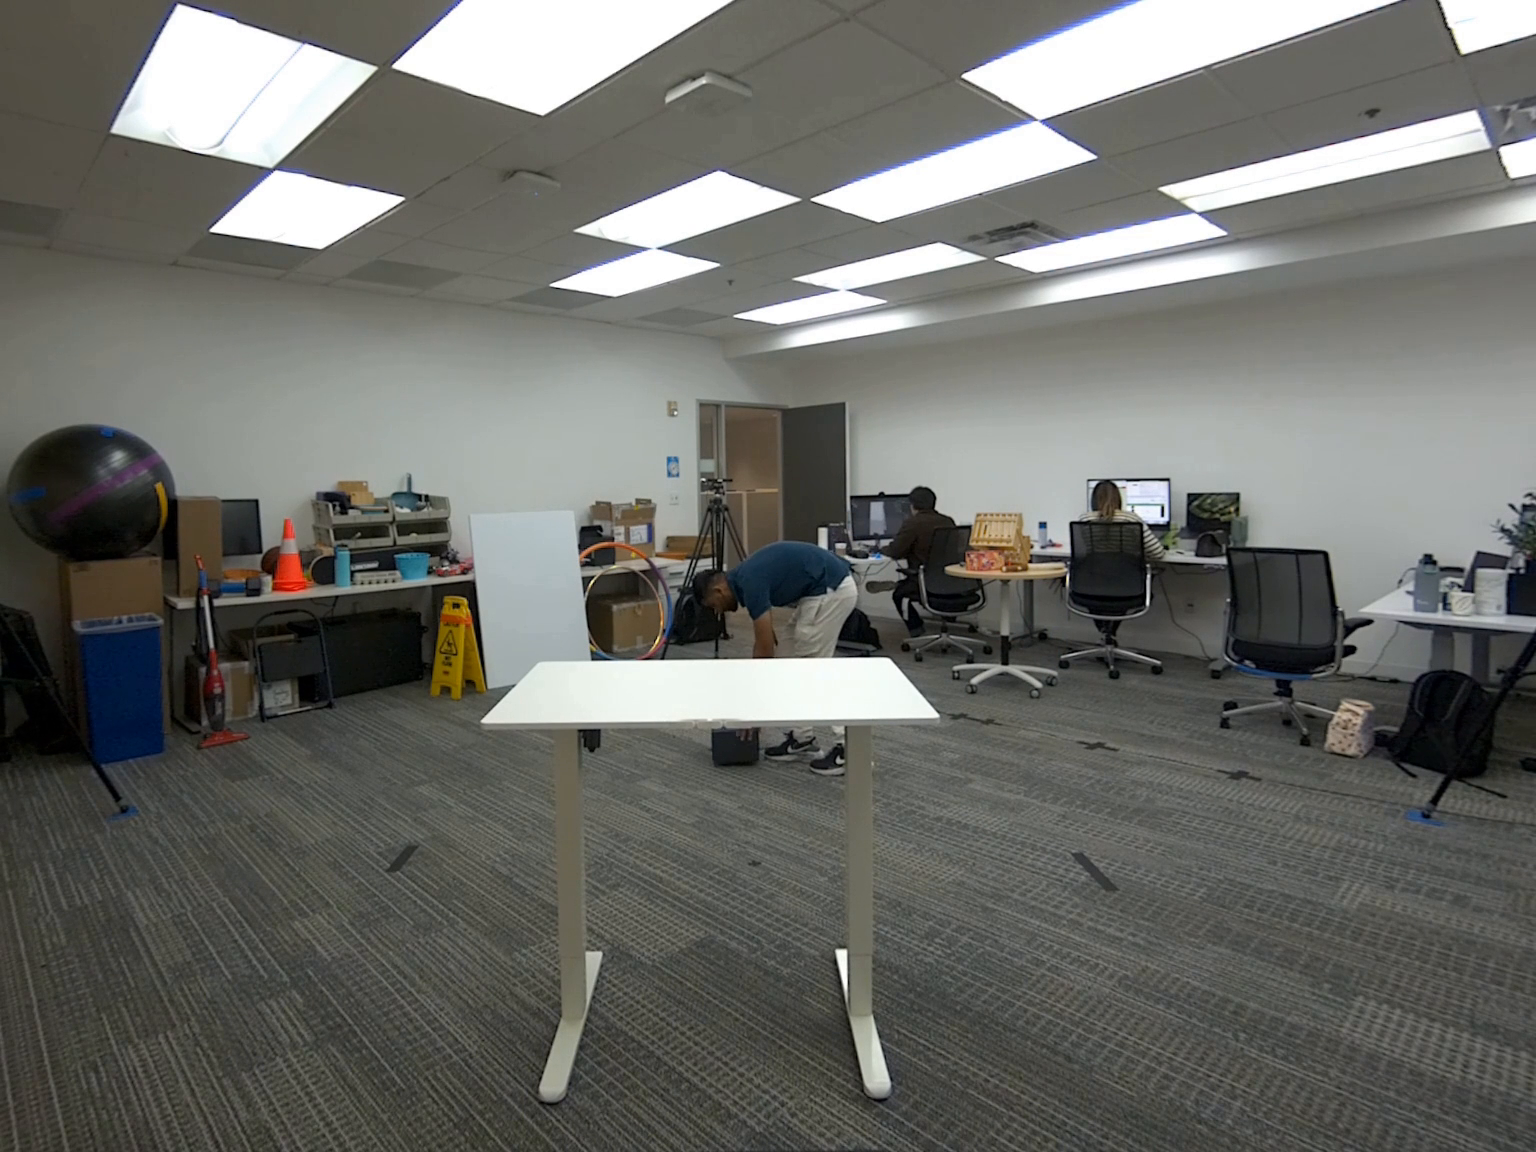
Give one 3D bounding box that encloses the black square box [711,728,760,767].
[{"bbox_3d":[-0.165,0.800,4.259,0.228,0.155,0.218,-1,5,-2],"label":"black square box"}]
